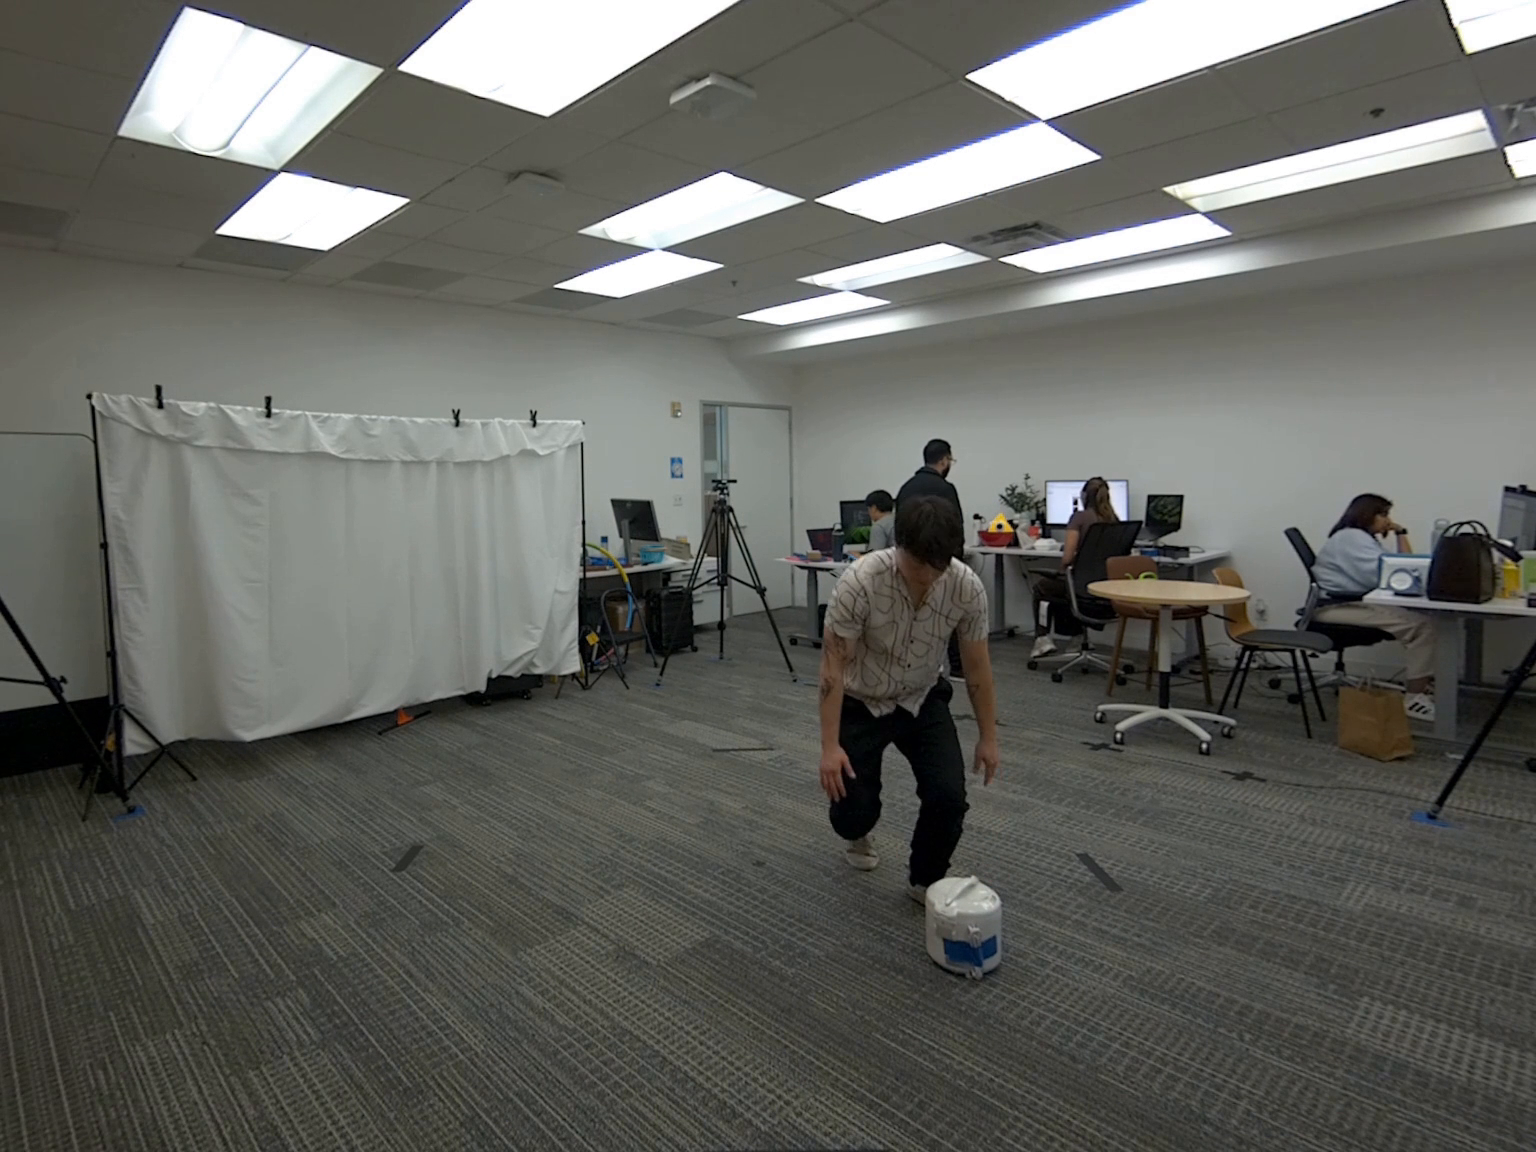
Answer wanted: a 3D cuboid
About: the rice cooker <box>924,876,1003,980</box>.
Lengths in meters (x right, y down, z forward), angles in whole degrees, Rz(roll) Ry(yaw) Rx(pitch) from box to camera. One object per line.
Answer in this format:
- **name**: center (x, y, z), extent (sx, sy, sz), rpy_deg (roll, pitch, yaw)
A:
- **rice cooker**: center (0.565, 0.996, 2.462), extent (0.224, 0.232, 0.215), rpy_deg (4, 7, 43)
